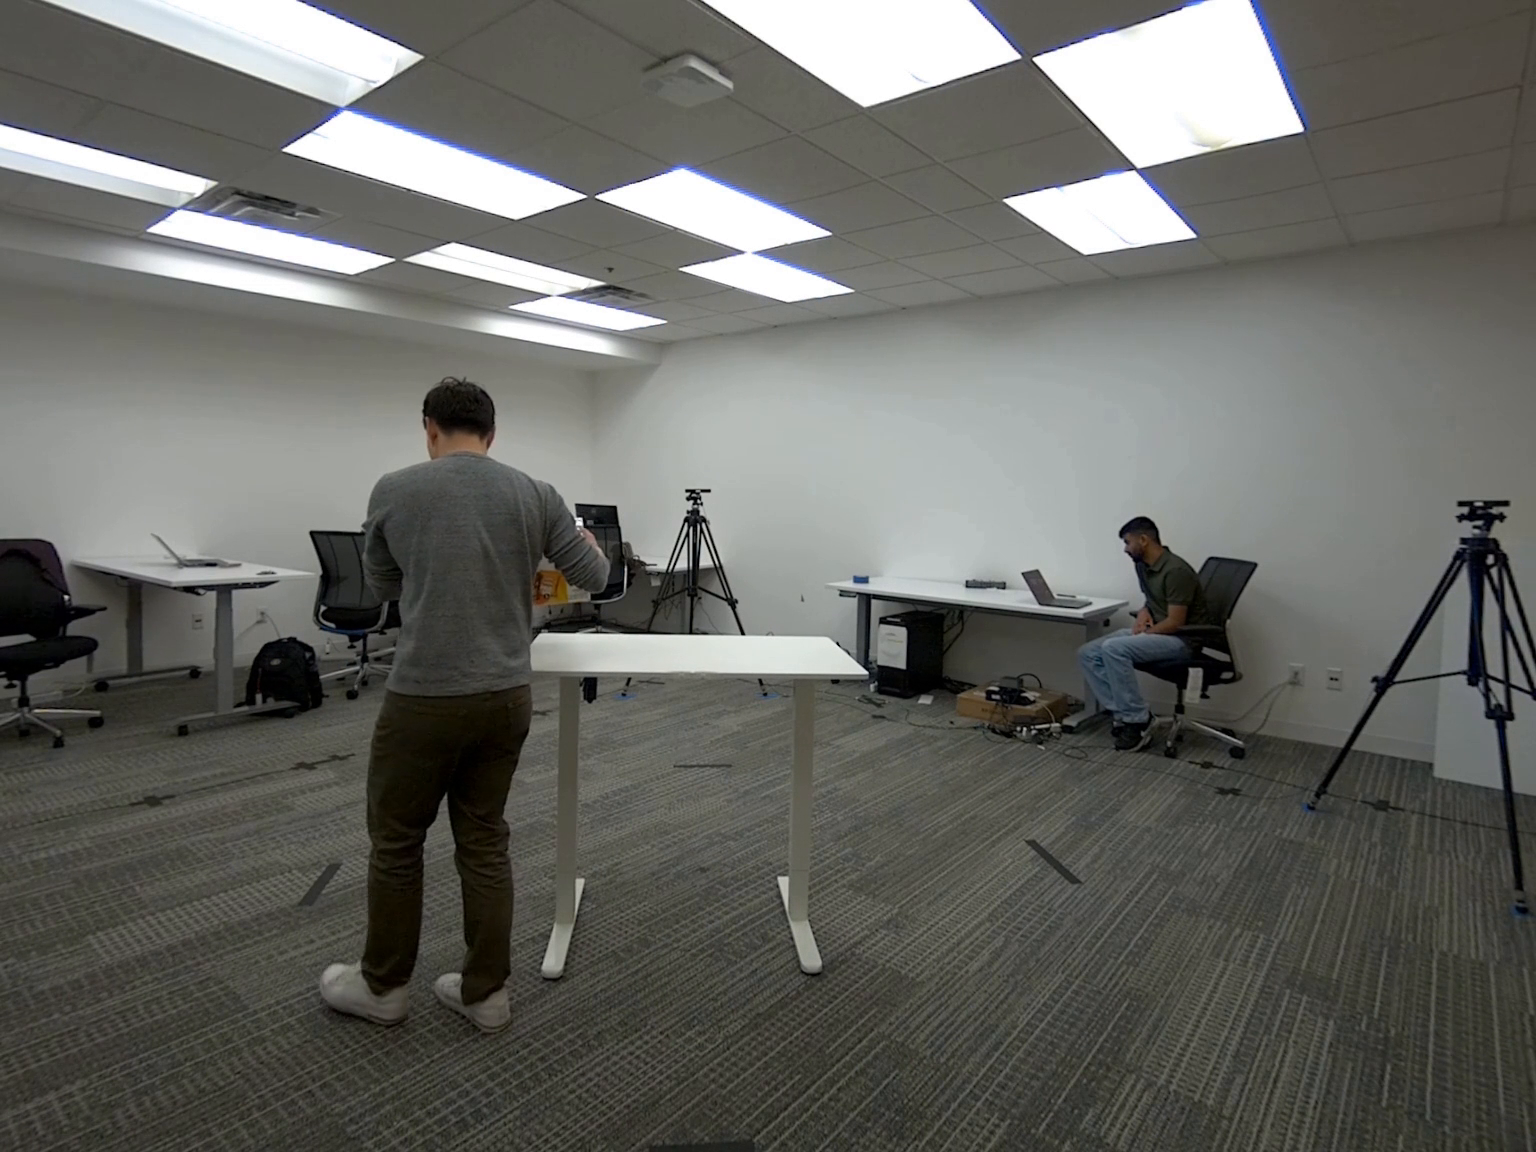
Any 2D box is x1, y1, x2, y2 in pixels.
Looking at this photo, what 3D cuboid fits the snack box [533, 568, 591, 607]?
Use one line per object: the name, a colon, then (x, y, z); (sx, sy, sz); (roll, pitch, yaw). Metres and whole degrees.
snack box: (-0.788, -0.028, 2.677); (0.401, 0.203, 0.349); (-8, 15, -11)
